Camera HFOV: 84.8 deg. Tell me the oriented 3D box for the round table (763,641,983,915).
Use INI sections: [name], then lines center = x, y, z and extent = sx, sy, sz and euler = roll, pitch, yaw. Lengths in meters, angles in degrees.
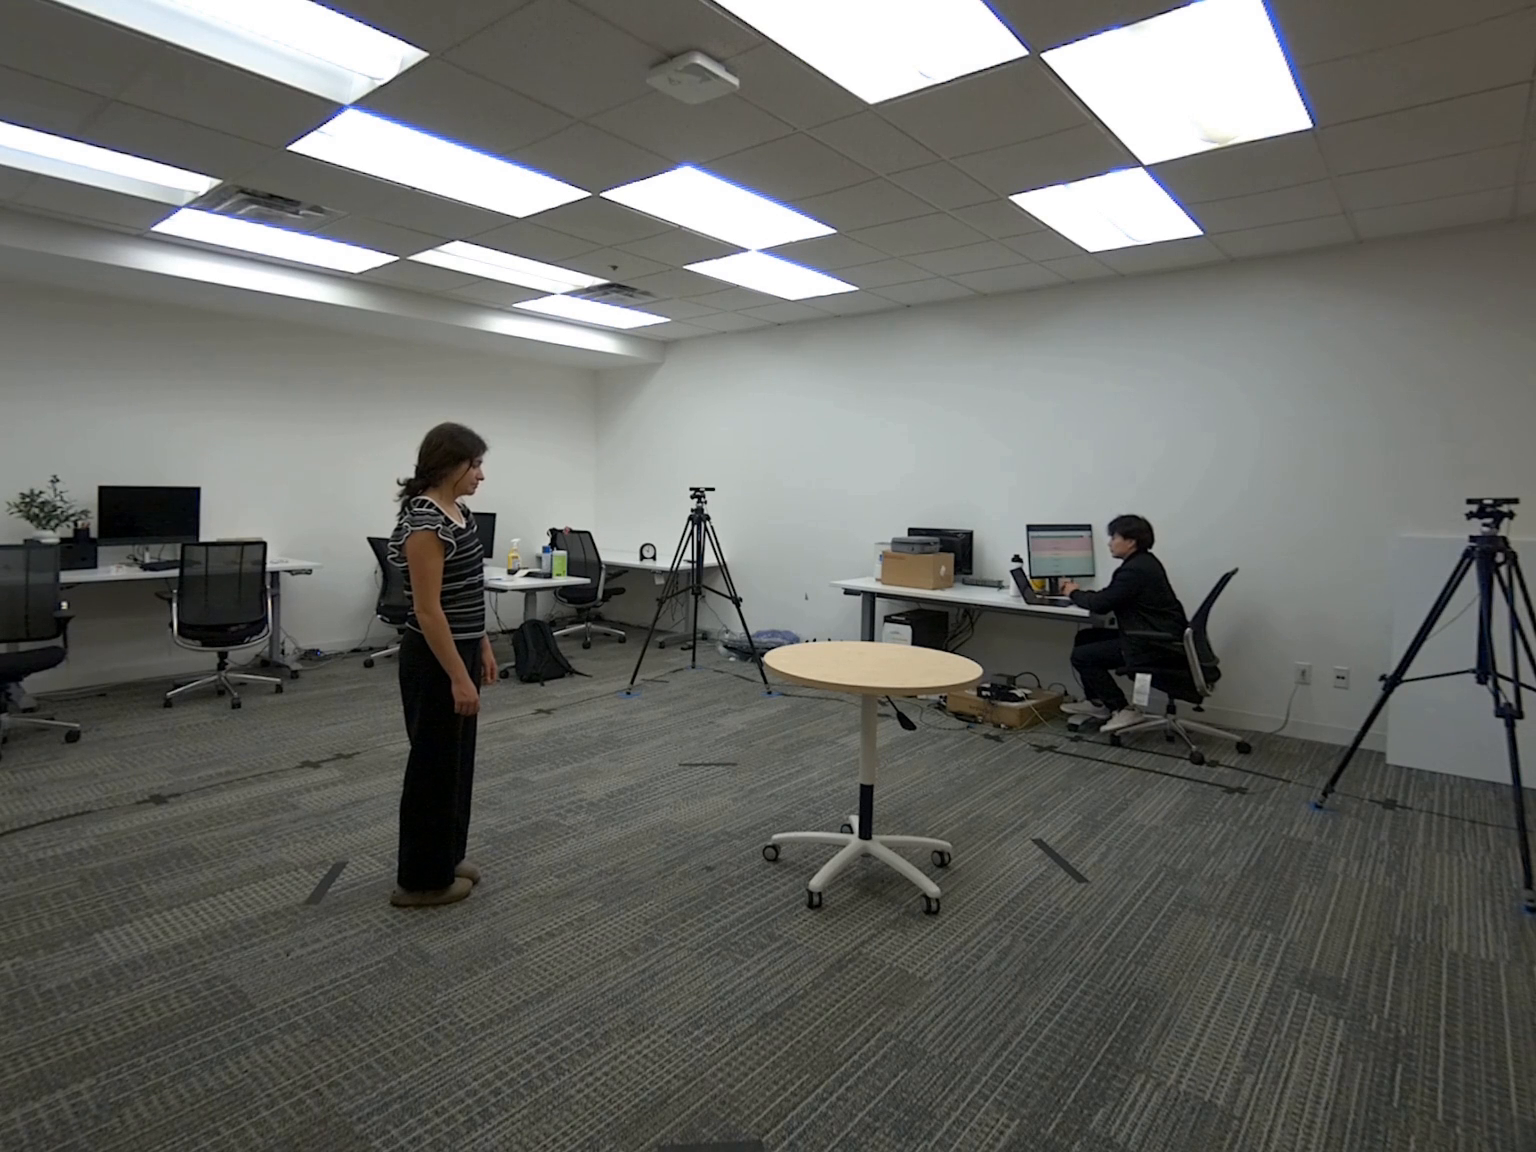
[round table]
center = 0.350, 0.696, 3.045
extent = 0.784, 0.784, 0.789
euler = 1, 4, -2
